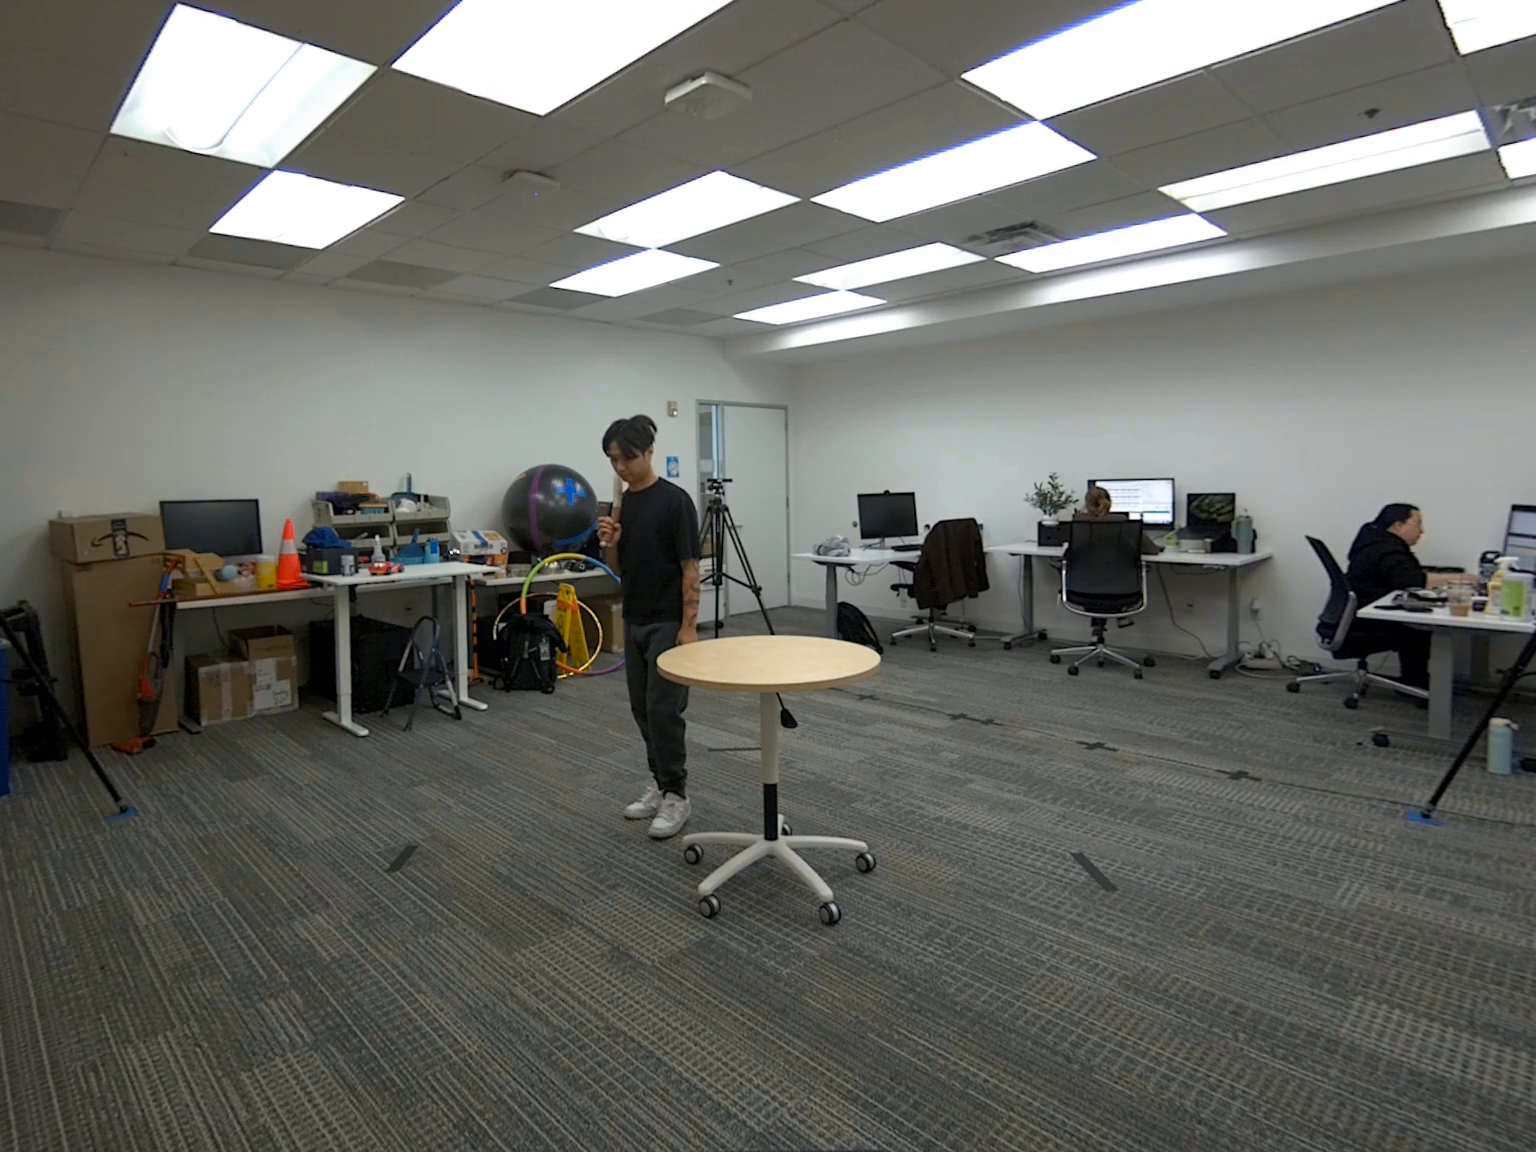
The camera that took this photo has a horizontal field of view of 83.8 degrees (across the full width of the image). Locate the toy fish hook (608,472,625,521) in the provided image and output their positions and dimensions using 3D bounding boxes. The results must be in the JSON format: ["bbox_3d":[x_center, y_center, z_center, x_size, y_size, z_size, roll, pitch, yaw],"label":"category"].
[{"bbox_3d":[-0.576,-0.304,3.610,0.218,0.515,0.049,32,-37,-27],"label":"toy fish hook"}]
